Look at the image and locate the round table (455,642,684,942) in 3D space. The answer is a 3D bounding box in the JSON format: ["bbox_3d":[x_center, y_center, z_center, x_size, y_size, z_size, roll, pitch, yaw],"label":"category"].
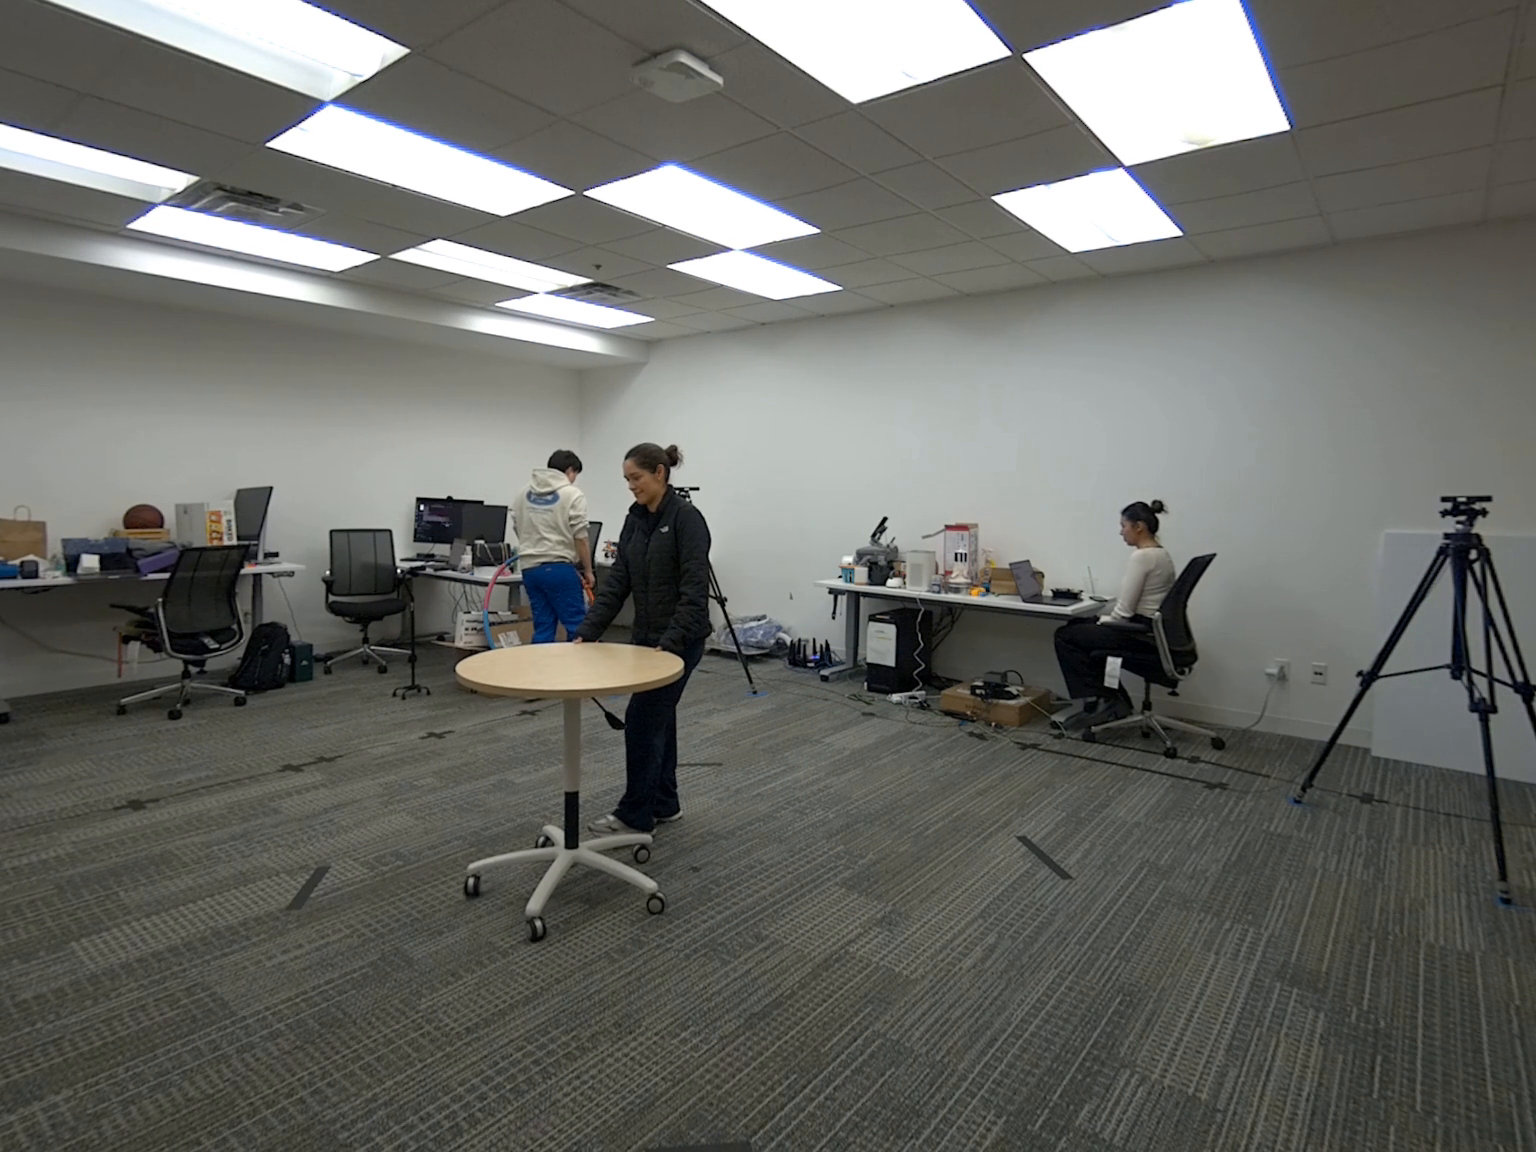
[{"bbox_3d":[-0.654,0.681,2.948,0.784,0.784,0.789,0,4,-2],"label":"round table"}]
